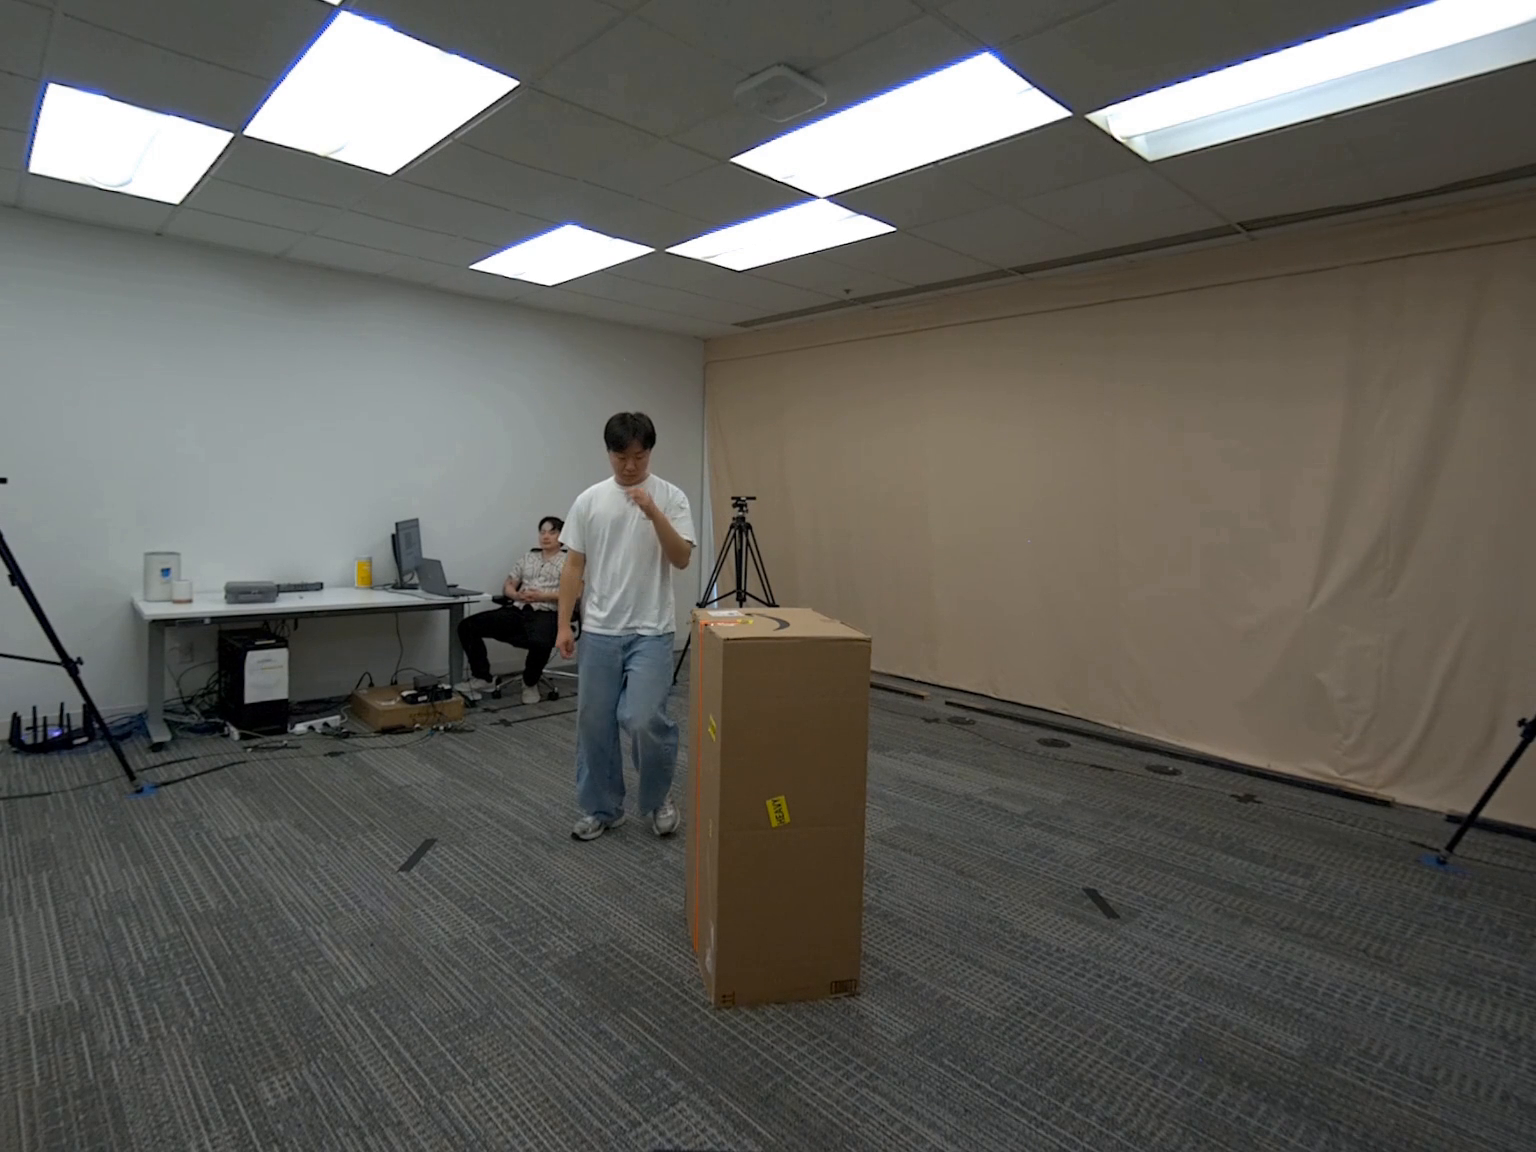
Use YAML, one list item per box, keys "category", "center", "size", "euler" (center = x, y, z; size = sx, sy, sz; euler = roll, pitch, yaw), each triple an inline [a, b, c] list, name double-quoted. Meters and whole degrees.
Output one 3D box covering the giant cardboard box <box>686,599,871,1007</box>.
- category: "giant cardboard box"
  center: [-0.002, 0.649, 2.577]
  size: [0.421, 1.023, 0.585]
  euler: [1, 4, -14]
